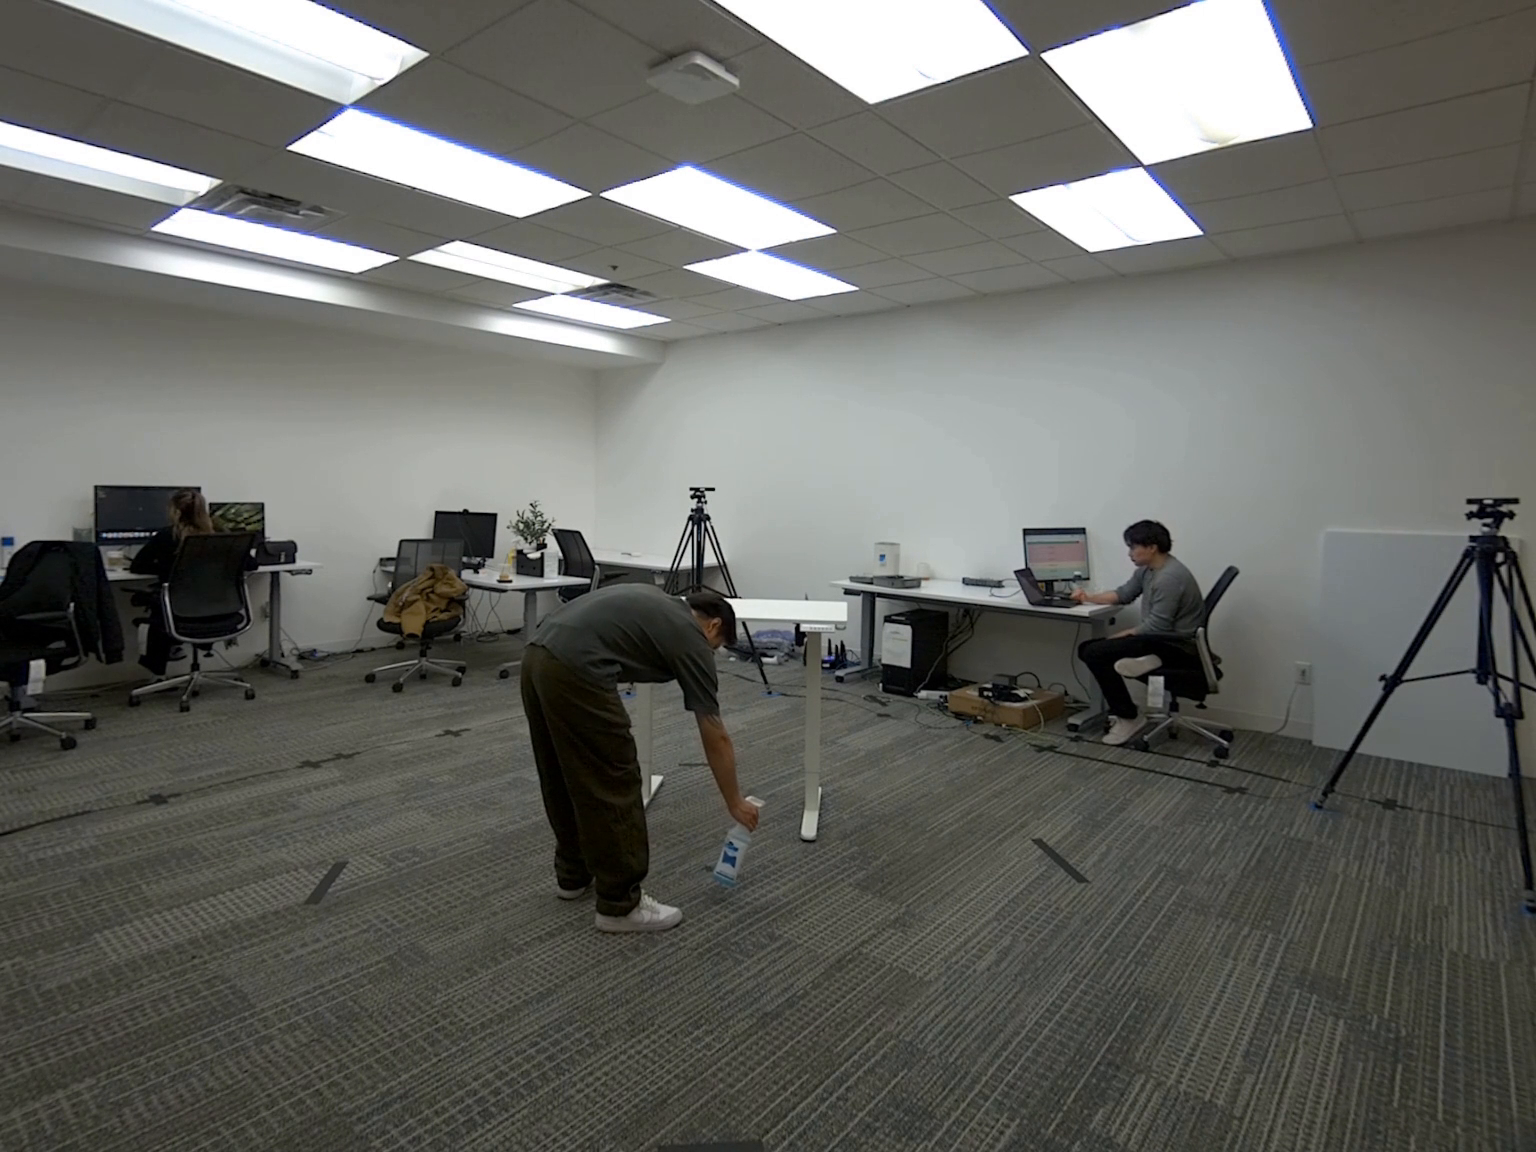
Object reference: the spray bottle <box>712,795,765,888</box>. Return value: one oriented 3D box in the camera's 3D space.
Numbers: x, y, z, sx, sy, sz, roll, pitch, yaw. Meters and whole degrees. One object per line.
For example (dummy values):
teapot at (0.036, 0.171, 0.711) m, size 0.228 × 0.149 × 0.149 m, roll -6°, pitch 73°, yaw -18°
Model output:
spray bottle at (-0.108, 0.905, 2.903) m, size 0.089 × 0.299 × 0.087 m, roll 24°, pitch -16°, yaw -7°
